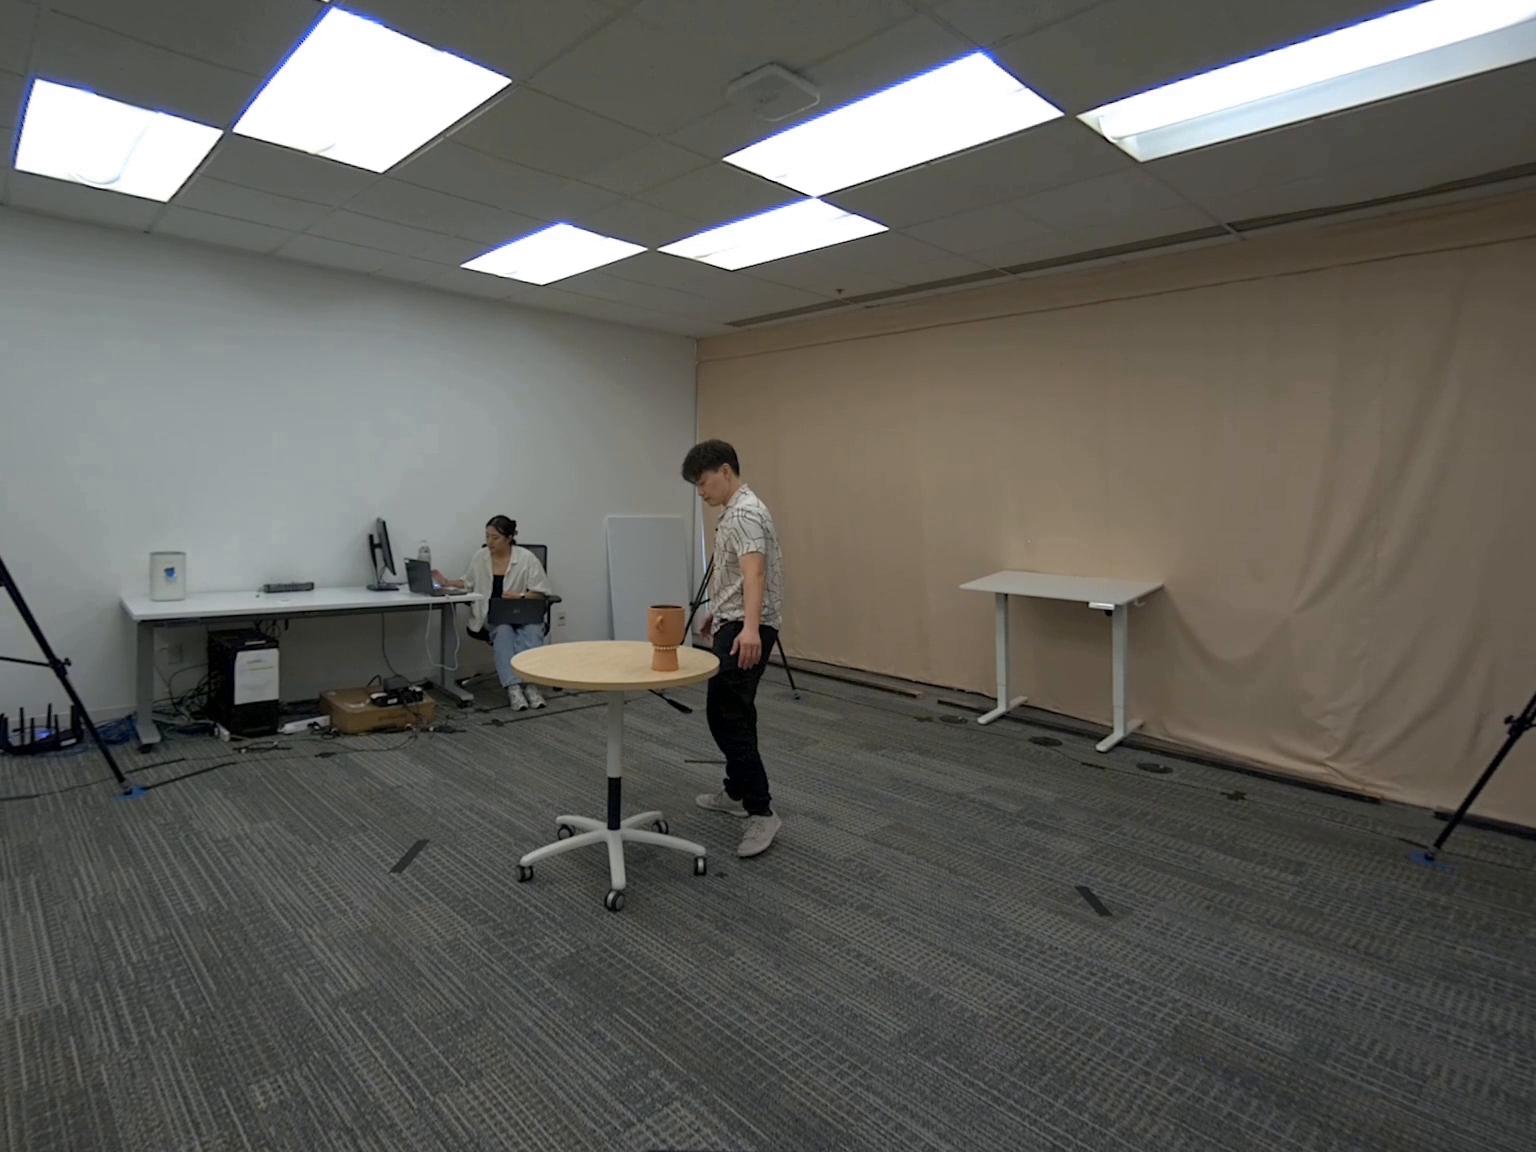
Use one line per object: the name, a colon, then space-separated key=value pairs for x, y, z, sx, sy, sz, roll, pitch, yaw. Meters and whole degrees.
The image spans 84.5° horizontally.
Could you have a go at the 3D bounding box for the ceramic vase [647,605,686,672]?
ceramic vase: x=-0.370 y=0.221 z=2.973 sx=0.155 sy=0.219 sz=0.138 roll=-2 pitch=6 yaw=-38
